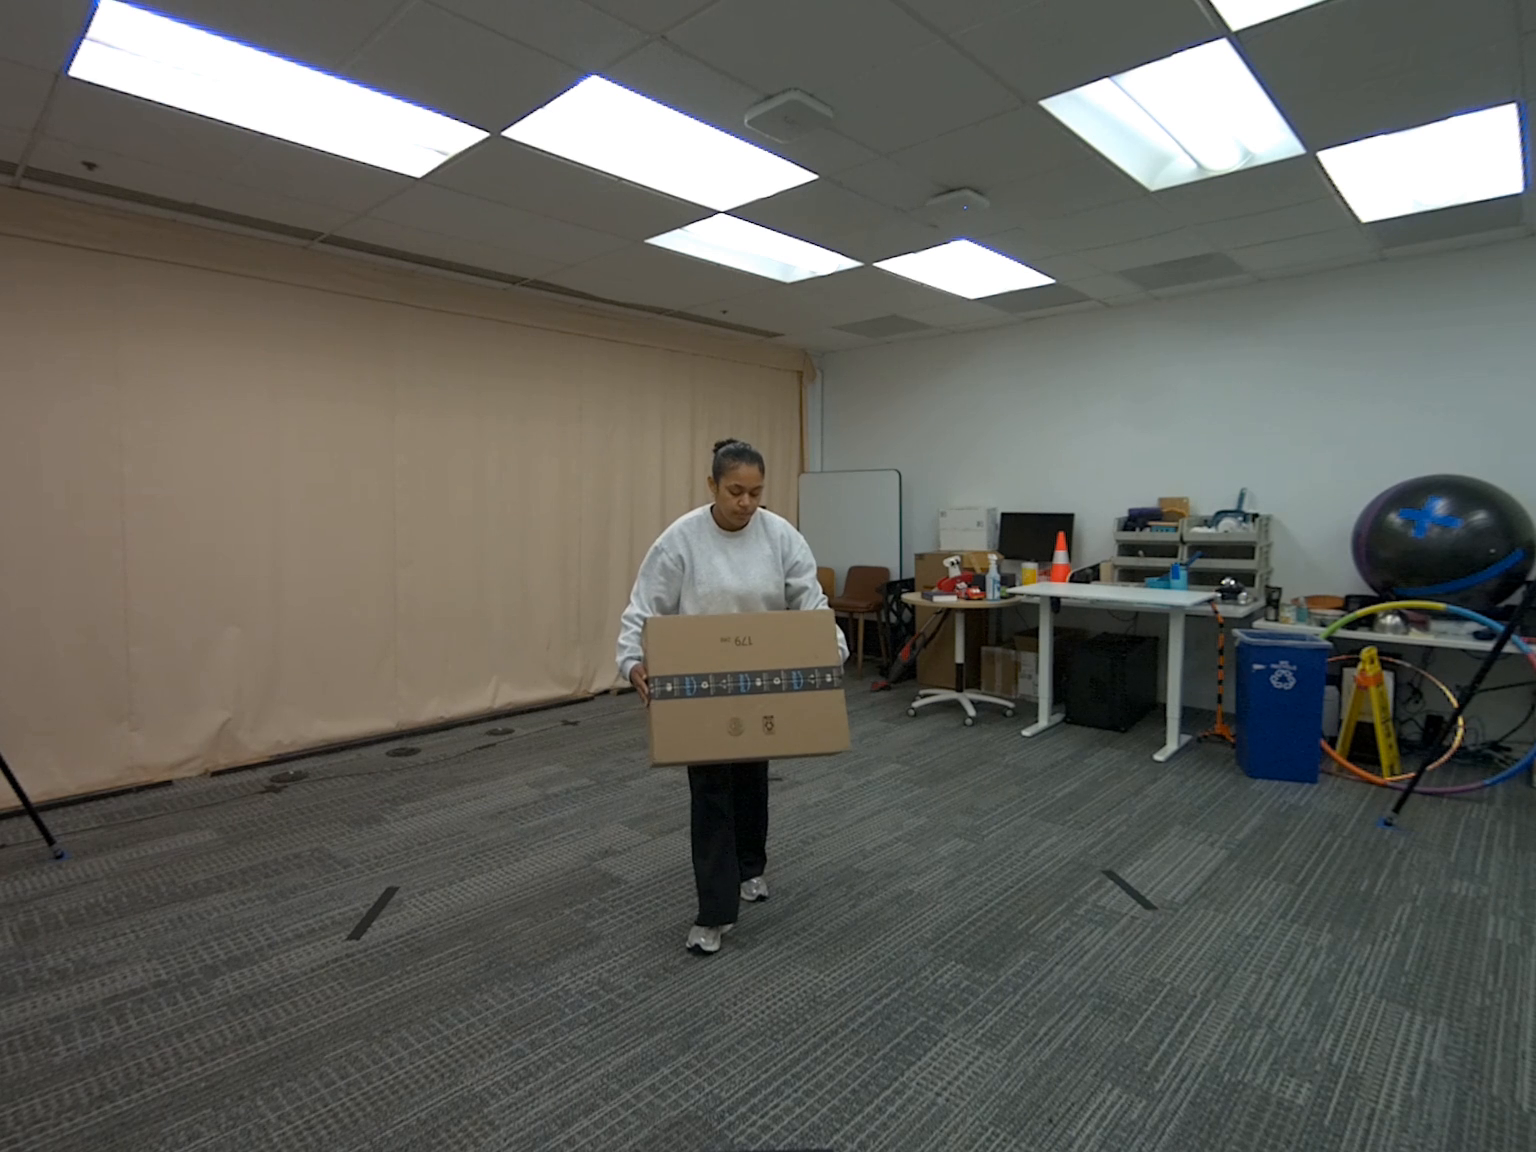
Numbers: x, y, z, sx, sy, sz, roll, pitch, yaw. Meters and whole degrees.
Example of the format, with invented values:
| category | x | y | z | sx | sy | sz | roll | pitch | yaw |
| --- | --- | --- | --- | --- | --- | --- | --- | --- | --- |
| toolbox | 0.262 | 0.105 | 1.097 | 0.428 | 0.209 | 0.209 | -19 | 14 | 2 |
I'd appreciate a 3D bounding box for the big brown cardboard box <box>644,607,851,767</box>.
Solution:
| category | x | y | z | sx | sy | sz | roll | pitch | yaw |
| --- | --- | --- | --- | --- | --- | --- | --- | --- | --- |
| big brown cardboard box | -0.082 | 0.340 | 2.507 | 0.585 | 0.422 | 0.232 | -3 | -15 | -6 |
